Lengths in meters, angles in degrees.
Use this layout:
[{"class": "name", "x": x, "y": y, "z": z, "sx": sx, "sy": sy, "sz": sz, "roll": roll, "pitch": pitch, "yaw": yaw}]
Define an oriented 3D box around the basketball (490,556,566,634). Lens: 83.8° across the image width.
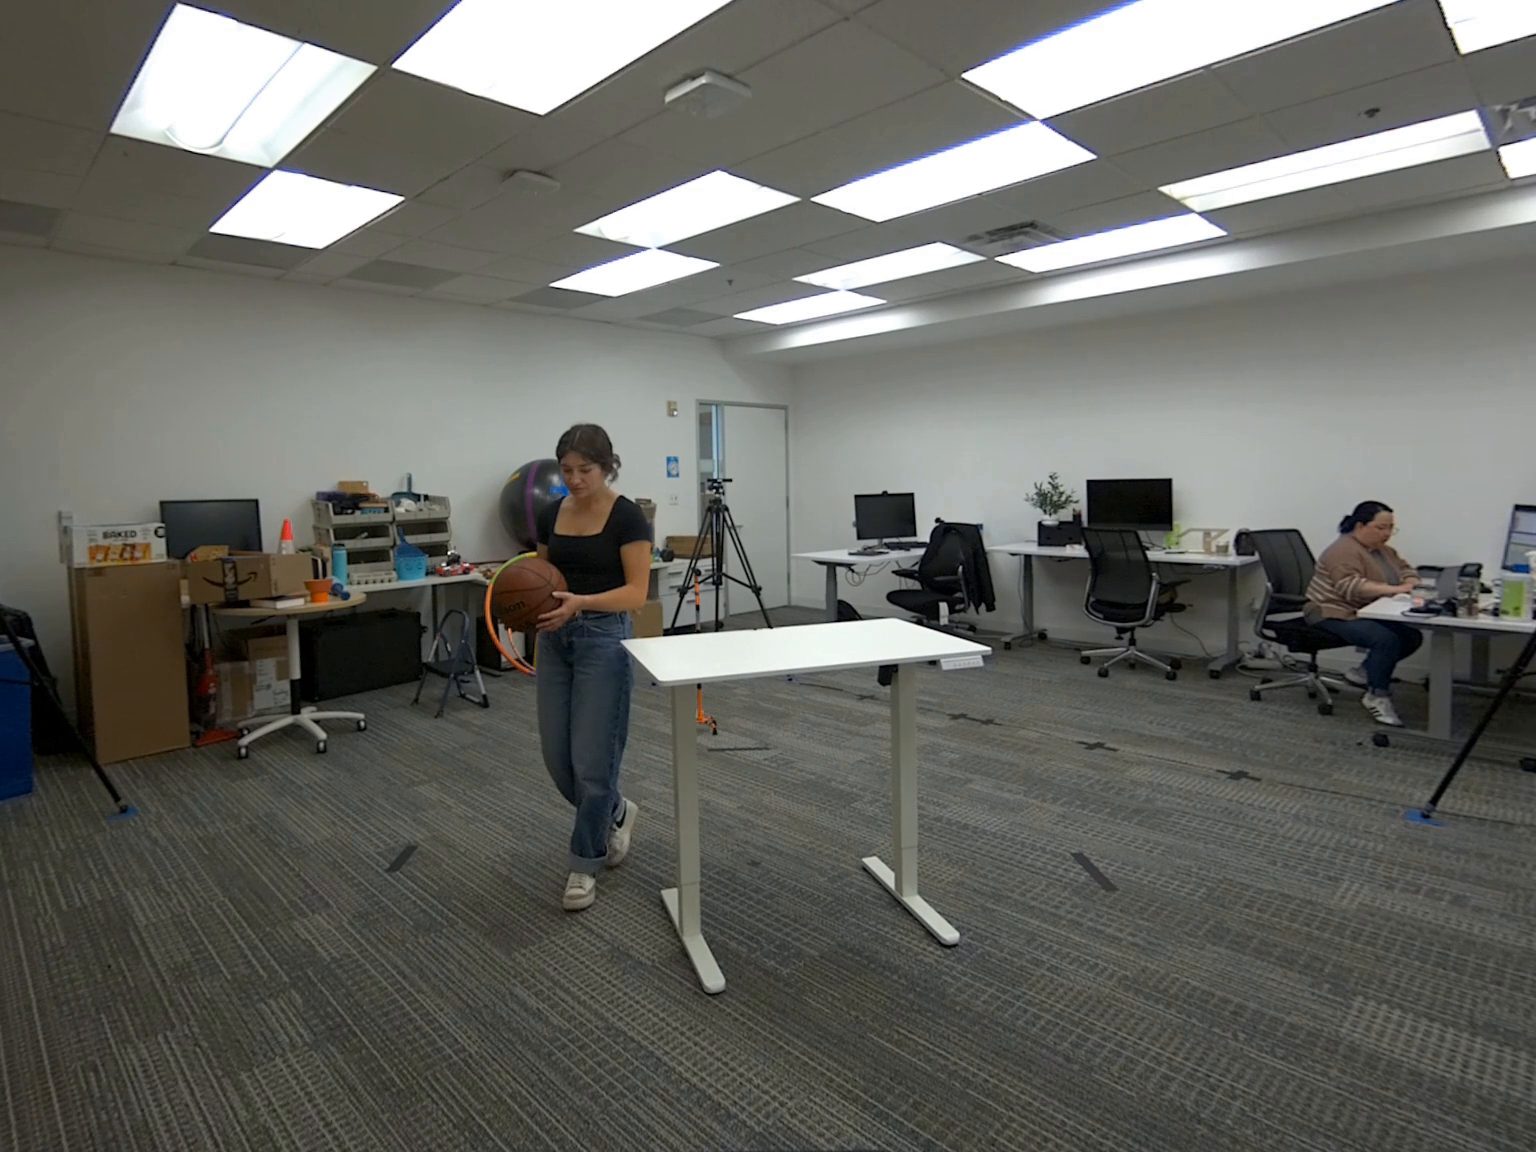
[{"class": "basketball", "x": -0.756, "y": 0.061, "z": 2.699, "sx": 0.236, "sy": 0.235, "sz": 0.237, "roll": -1, "pitch": 5, "yaw": -2}]
